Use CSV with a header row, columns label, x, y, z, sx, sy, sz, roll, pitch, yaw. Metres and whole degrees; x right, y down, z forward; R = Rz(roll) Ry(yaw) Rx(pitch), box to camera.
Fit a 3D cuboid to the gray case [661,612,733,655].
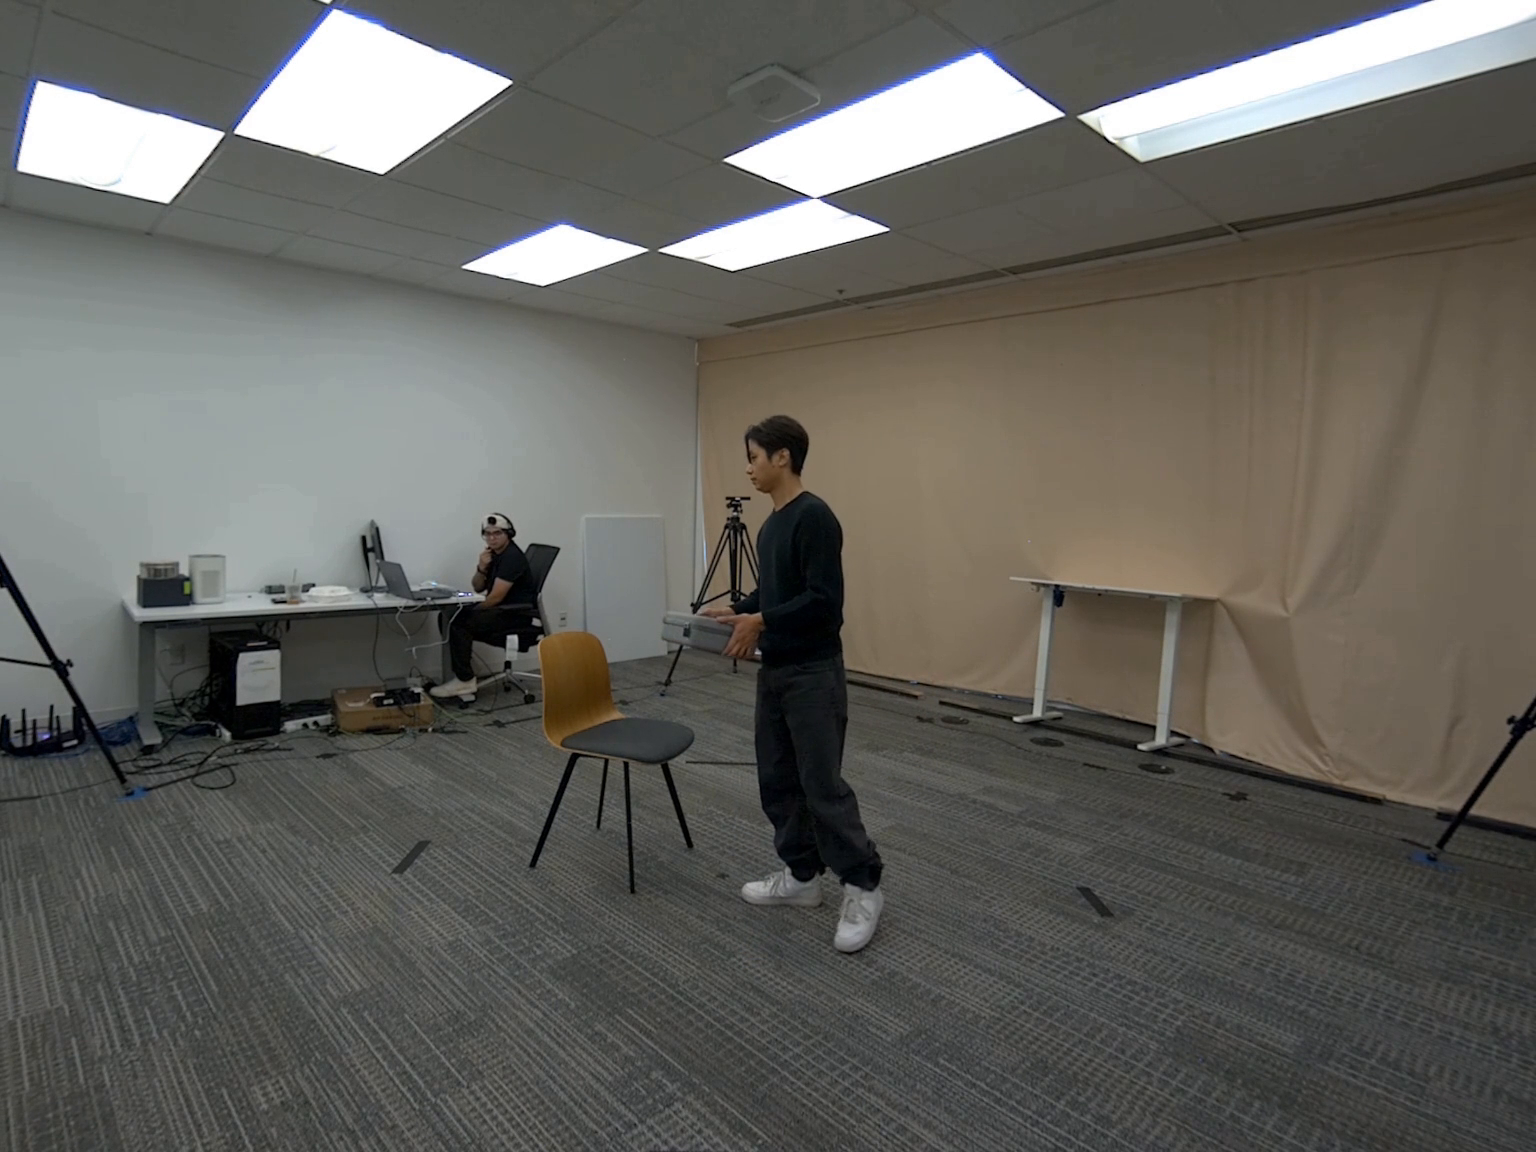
label,x,y,z,sx,sy,sz,roll,pitch,yaw
gray case,-0.193,0.192,2.758,0.255,0.105,0.261,14,-6,-26
